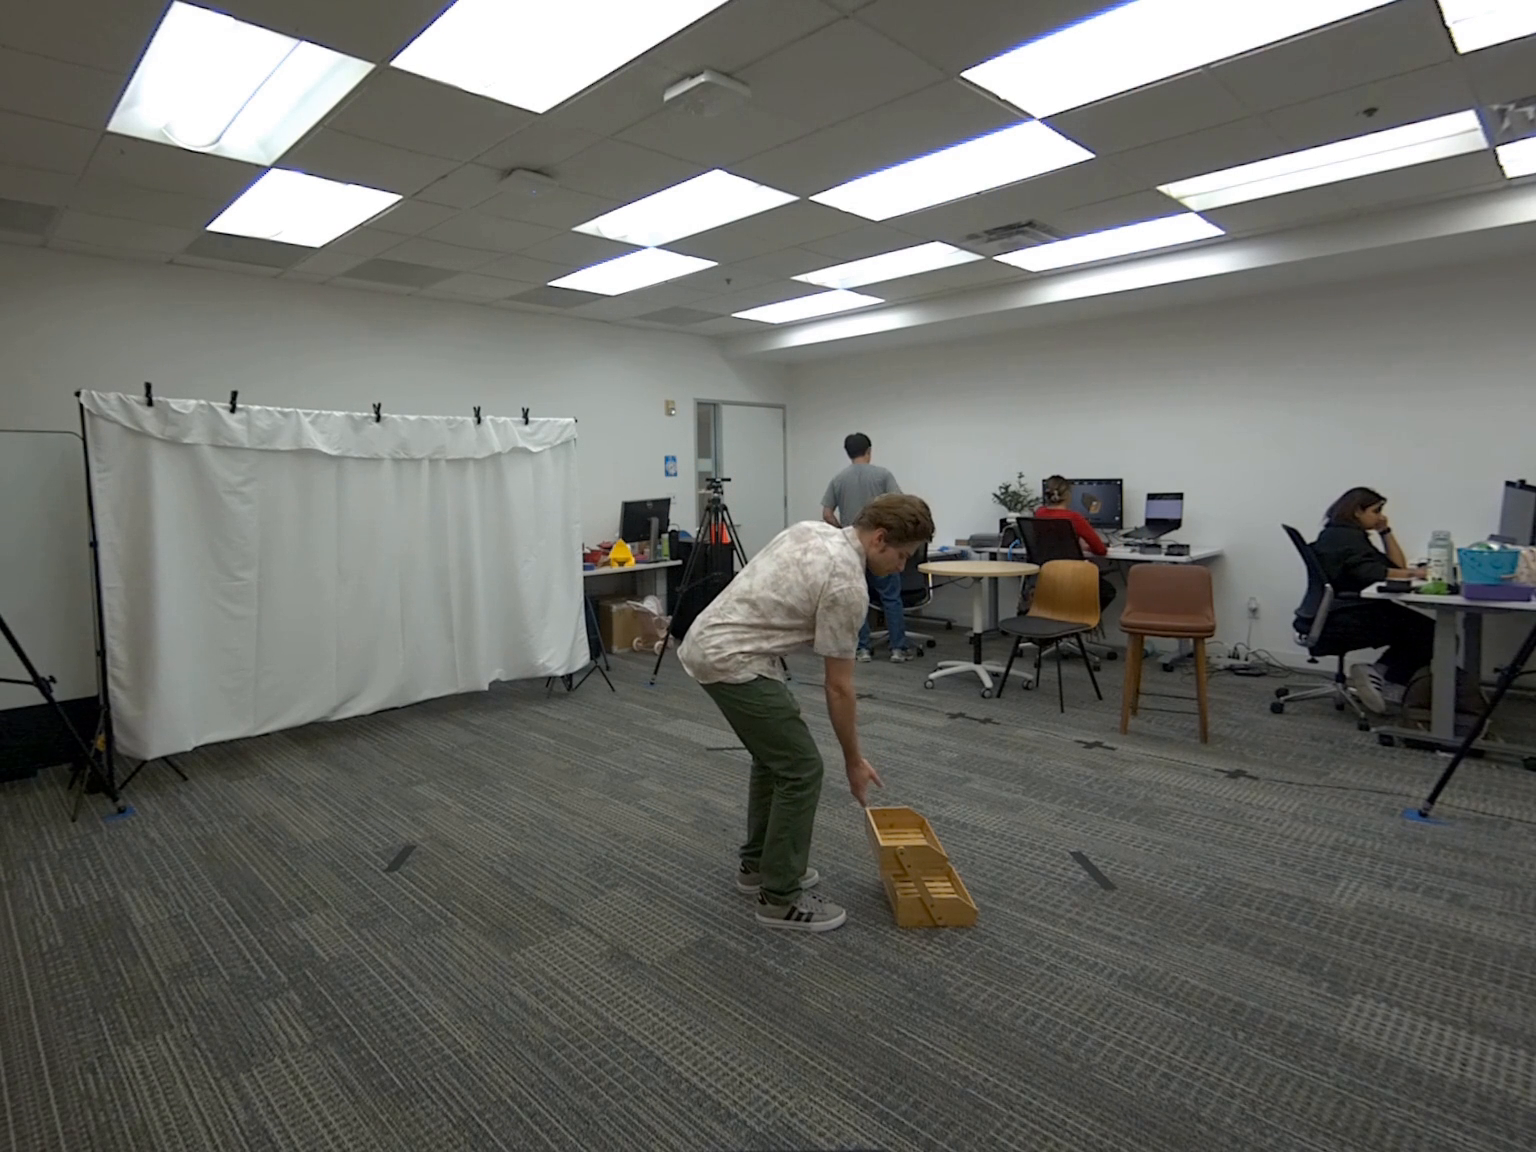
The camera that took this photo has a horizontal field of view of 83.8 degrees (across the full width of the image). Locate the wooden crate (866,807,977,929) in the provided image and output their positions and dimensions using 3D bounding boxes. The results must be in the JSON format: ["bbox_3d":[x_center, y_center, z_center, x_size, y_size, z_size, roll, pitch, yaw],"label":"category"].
[{"bbox_3d":[0.494,0.935,2.782,0.302,0.272,0.326,-2,5,-1],"label":"wooden crate"}]
